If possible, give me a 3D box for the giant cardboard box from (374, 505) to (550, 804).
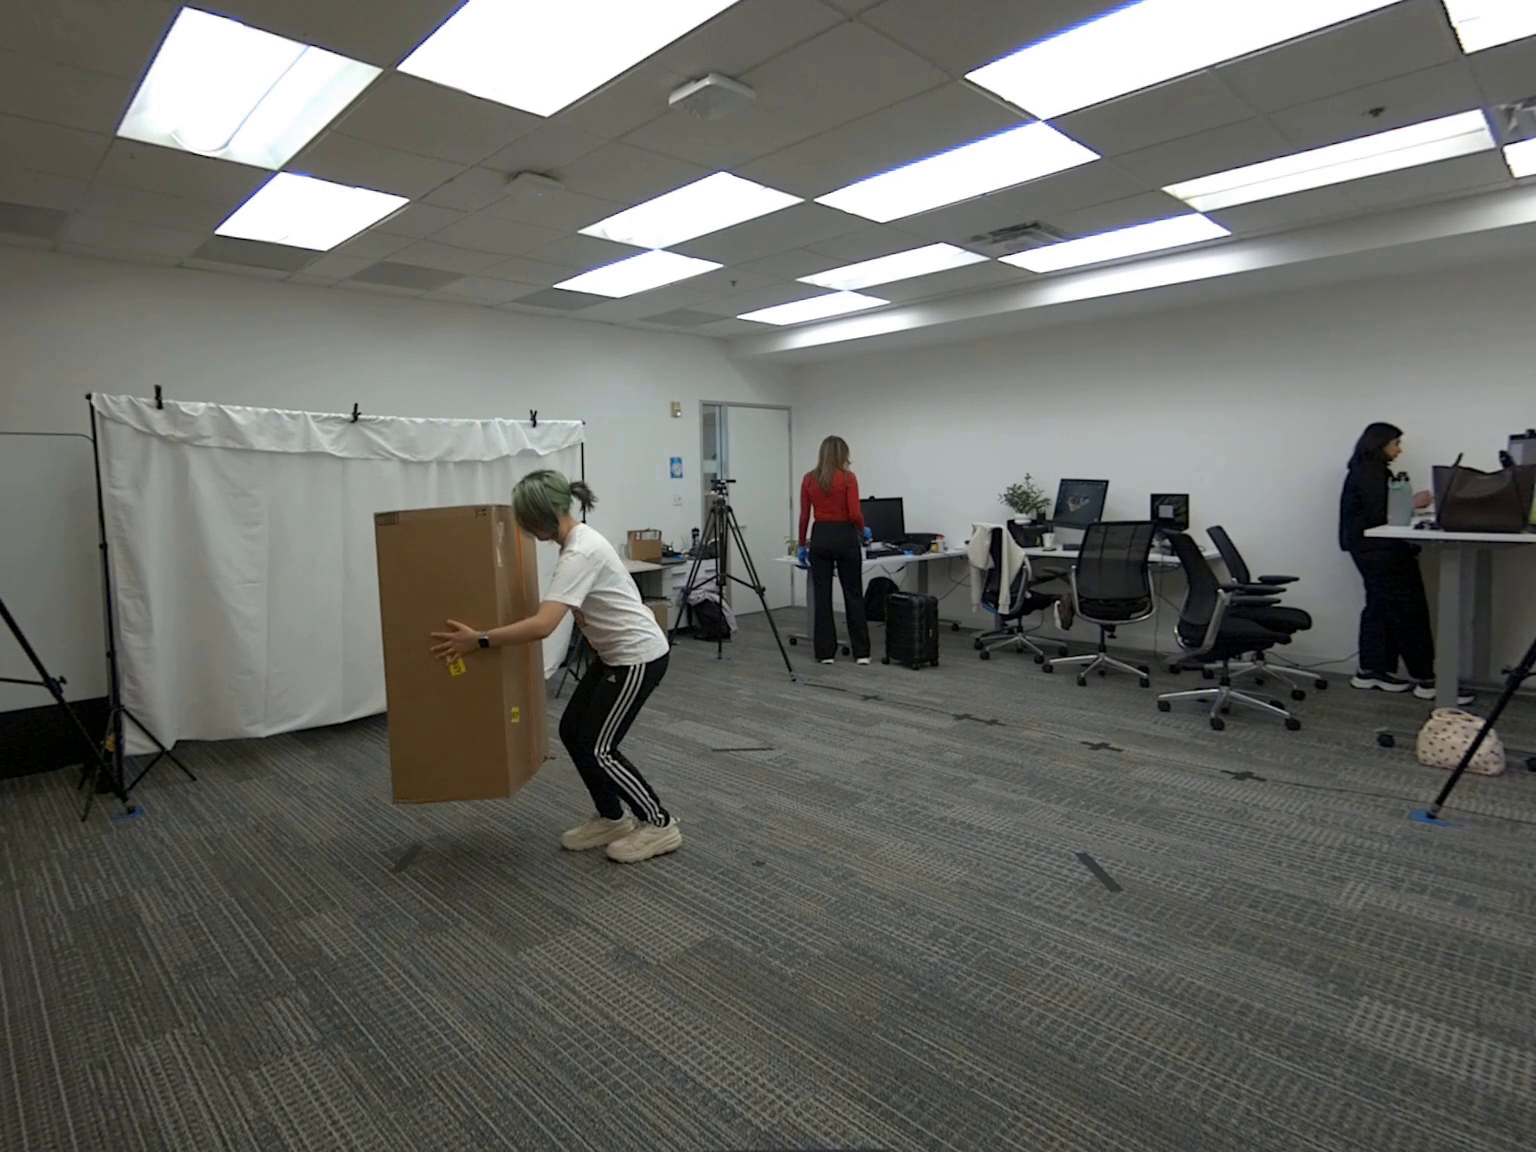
[{"bbox_3d":[-1.130,0.261,3.250,0.447,1.027,0.584,-5,1,0],"label":"giant cardboard box"}]
